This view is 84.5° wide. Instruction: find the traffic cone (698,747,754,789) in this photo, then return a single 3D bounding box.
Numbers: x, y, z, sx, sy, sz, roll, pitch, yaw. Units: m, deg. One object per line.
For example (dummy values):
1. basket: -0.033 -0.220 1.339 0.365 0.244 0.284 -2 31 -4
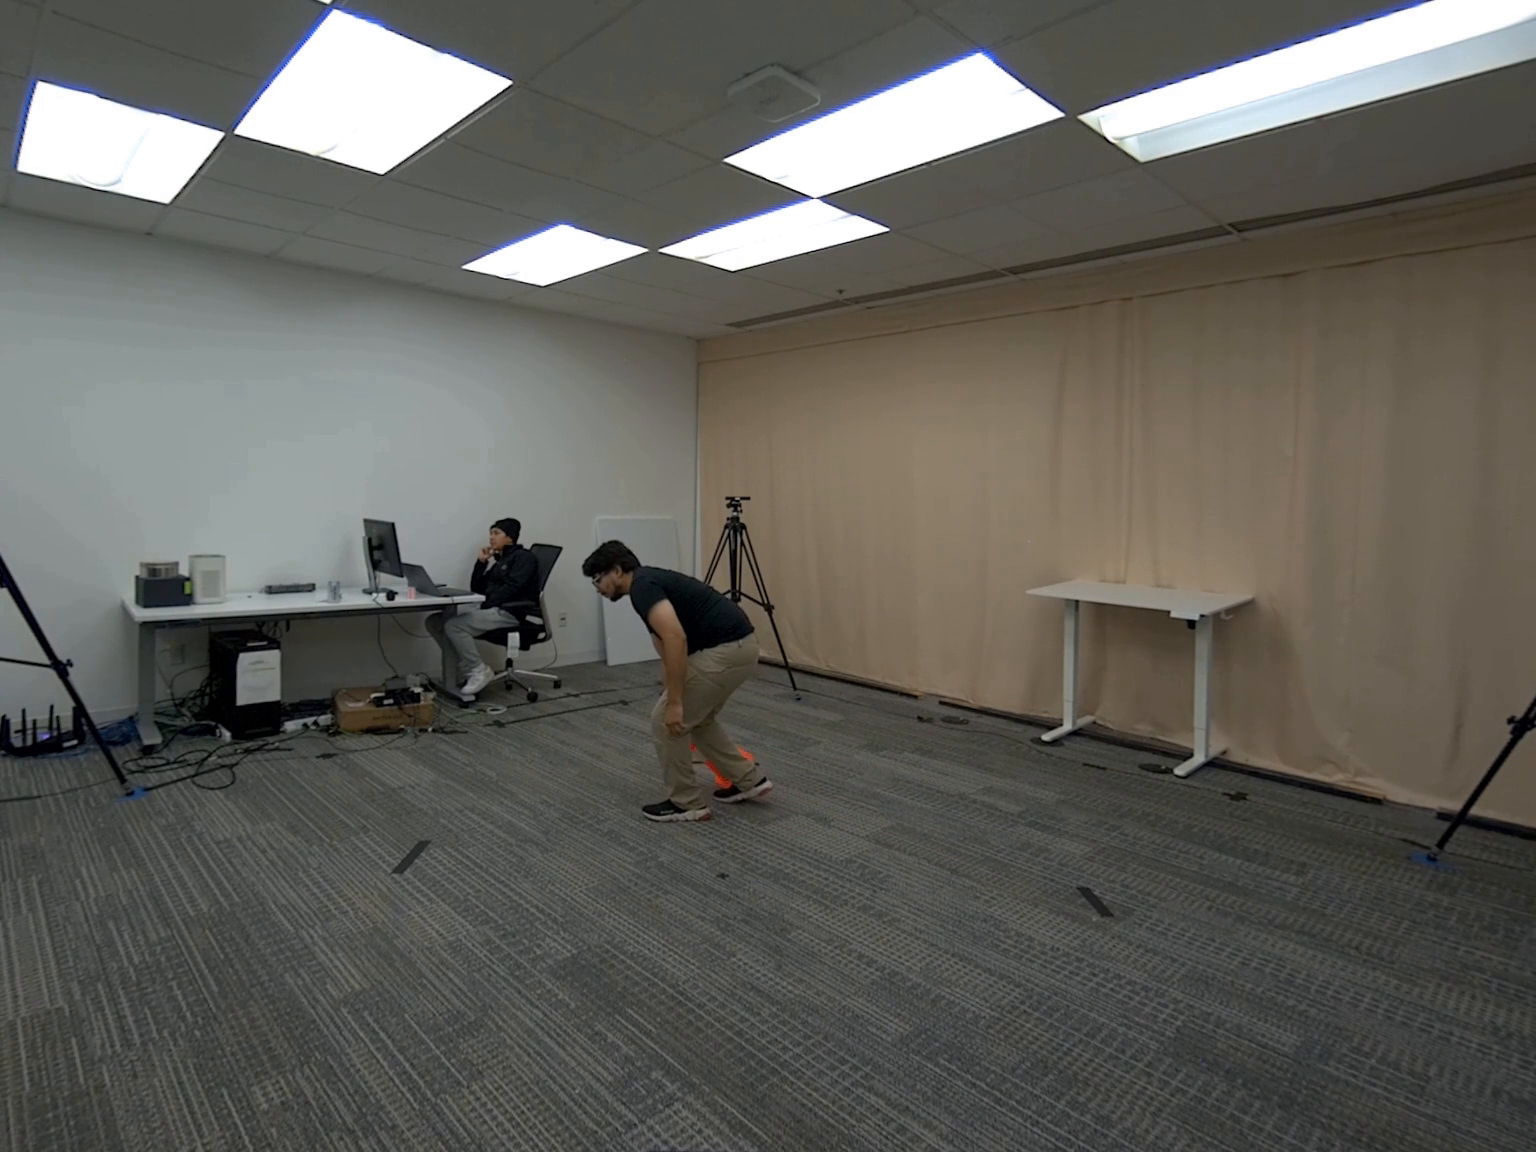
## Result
1. traffic cone: -0.311 0.839 4.037 0.375 0.205 0.207 39 -14 -23
